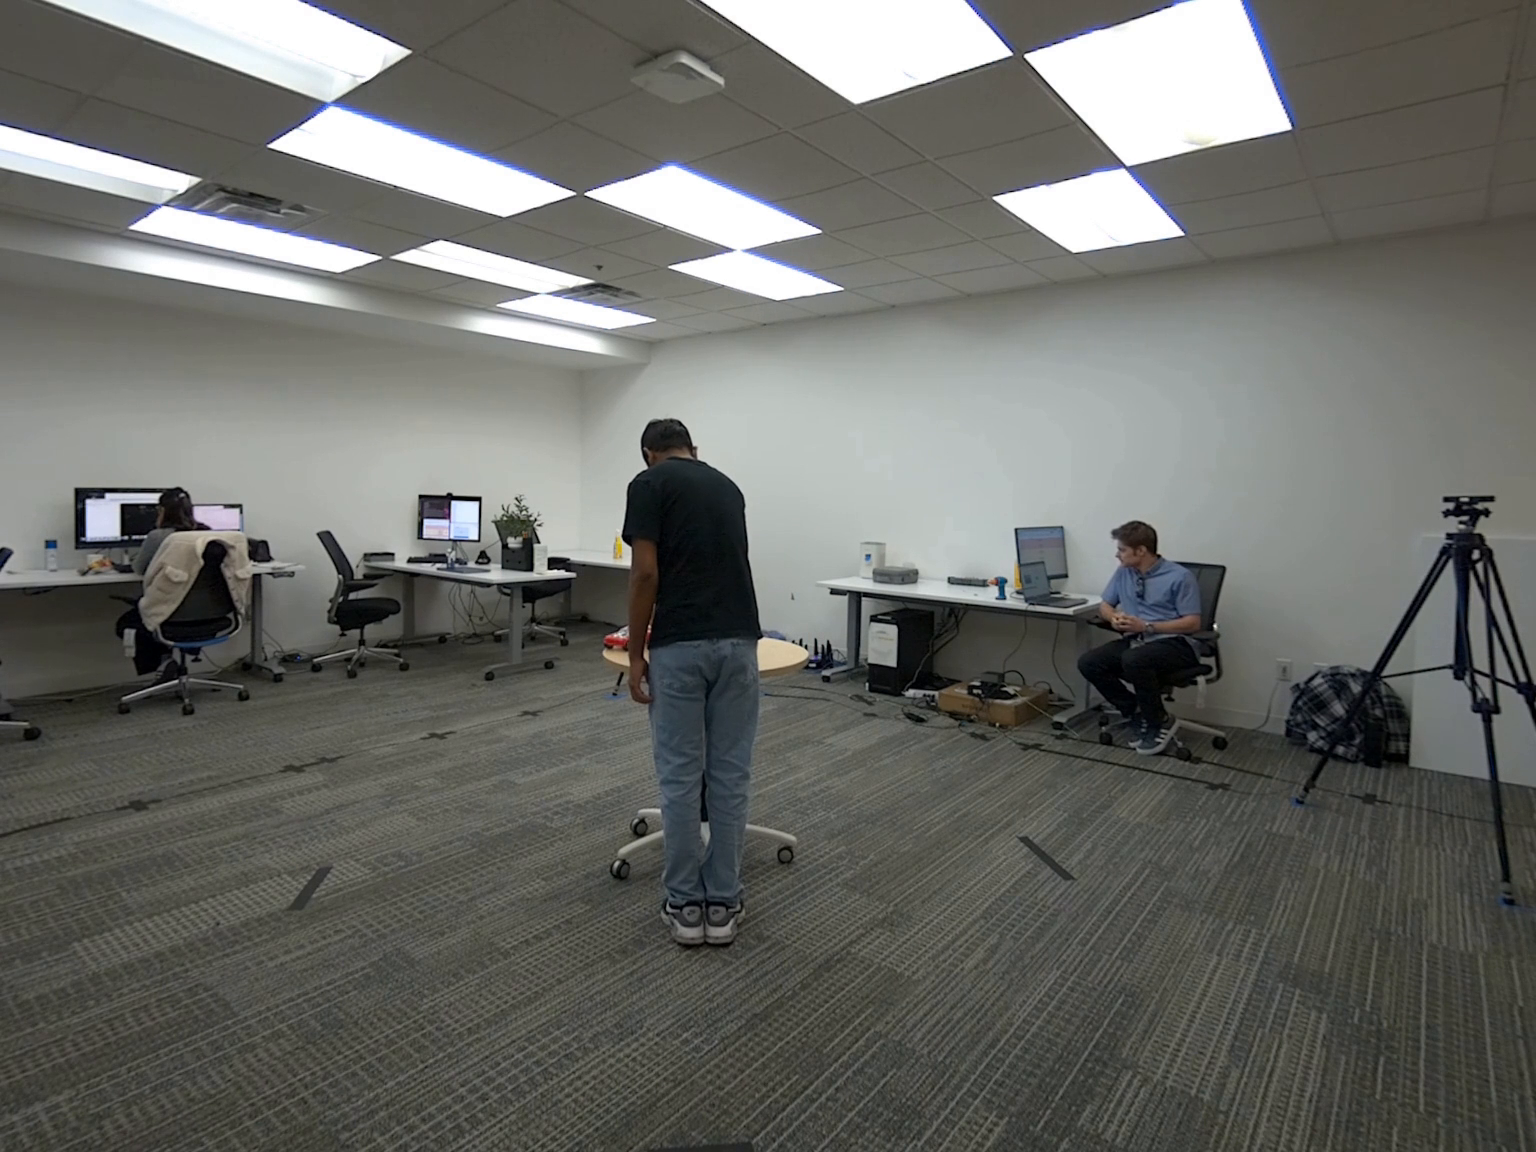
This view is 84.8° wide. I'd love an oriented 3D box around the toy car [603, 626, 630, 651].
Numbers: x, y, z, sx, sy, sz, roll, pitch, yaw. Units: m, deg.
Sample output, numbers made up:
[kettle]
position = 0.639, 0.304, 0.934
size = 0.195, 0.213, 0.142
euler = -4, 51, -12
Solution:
[toy car]
position = -0.523, 0.232, 3.271
size = 0.134, 0.082, 0.251
euler = 3, 17, 28
